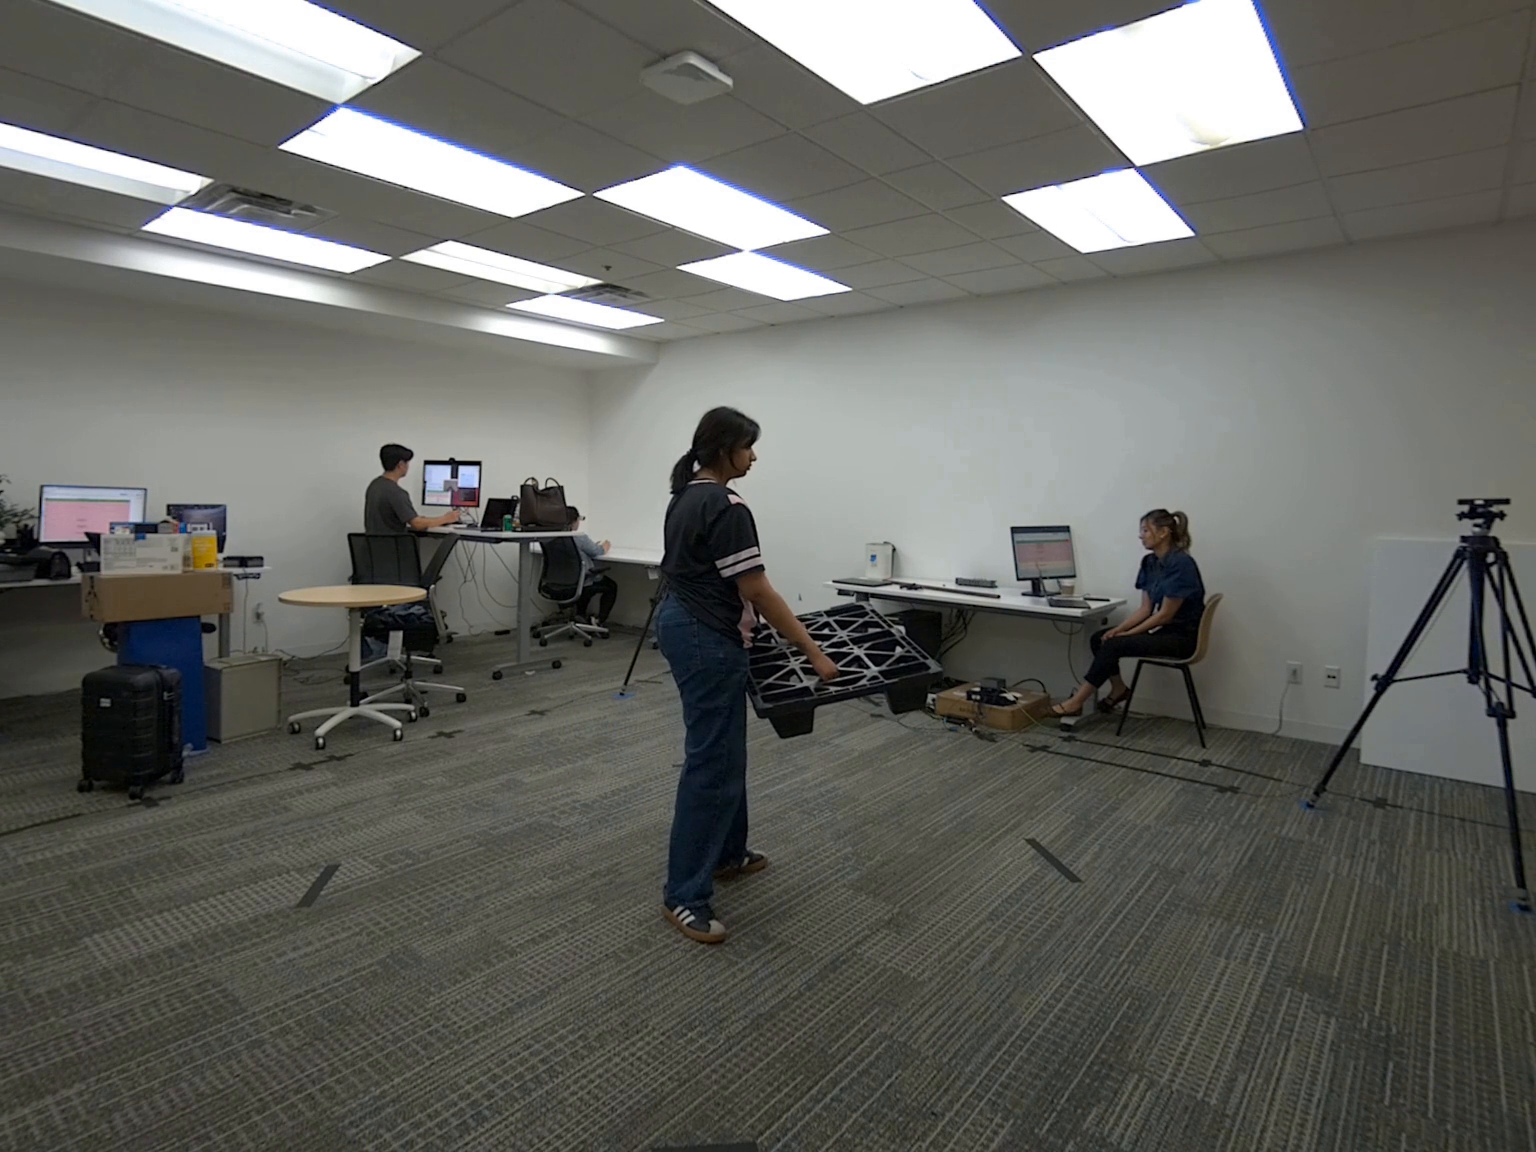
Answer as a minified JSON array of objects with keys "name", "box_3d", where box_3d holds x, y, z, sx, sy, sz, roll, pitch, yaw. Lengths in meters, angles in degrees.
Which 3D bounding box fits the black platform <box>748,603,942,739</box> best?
[{"name":"black platform","box_3d":[0.181,0.315,3.003,0.601,0.141,0.823,-11,15,-8]}]
